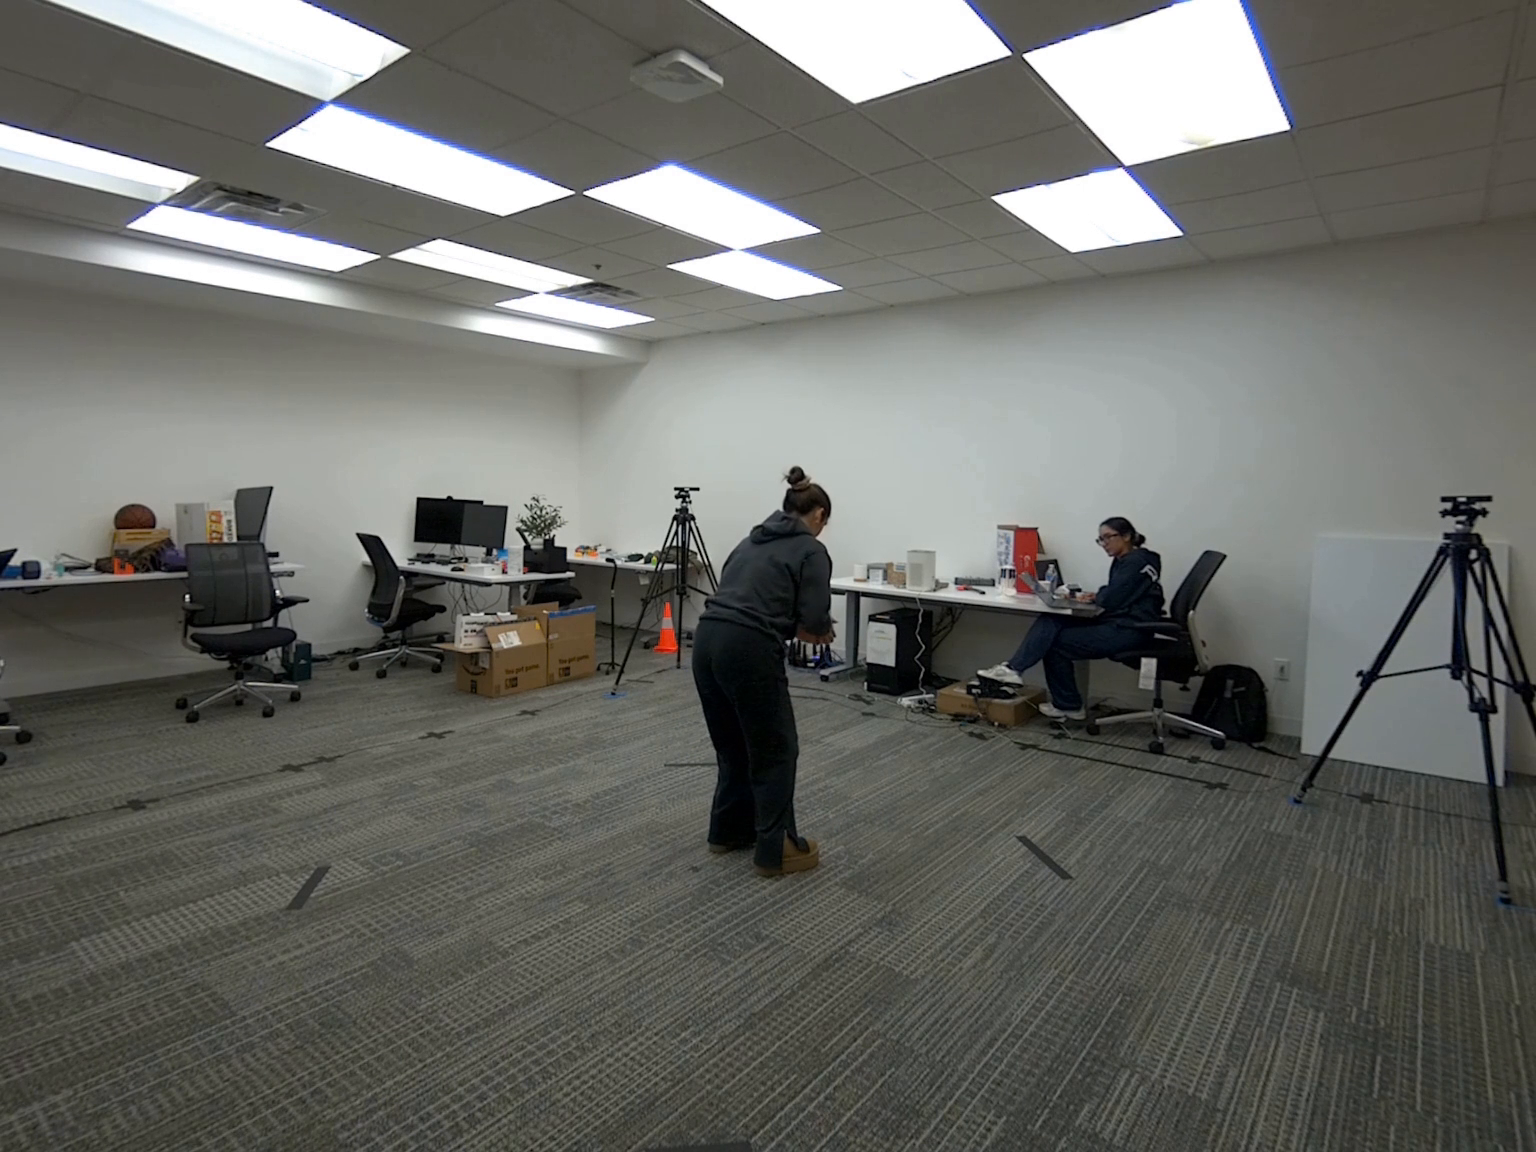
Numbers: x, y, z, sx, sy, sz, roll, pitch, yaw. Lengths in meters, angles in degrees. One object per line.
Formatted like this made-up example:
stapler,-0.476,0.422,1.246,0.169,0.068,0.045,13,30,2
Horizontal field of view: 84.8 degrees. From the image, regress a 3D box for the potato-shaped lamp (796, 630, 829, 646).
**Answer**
potato-shaped lamp,0.178,0.171,3.417,0.166,0.197,0.171,1,11,-43
